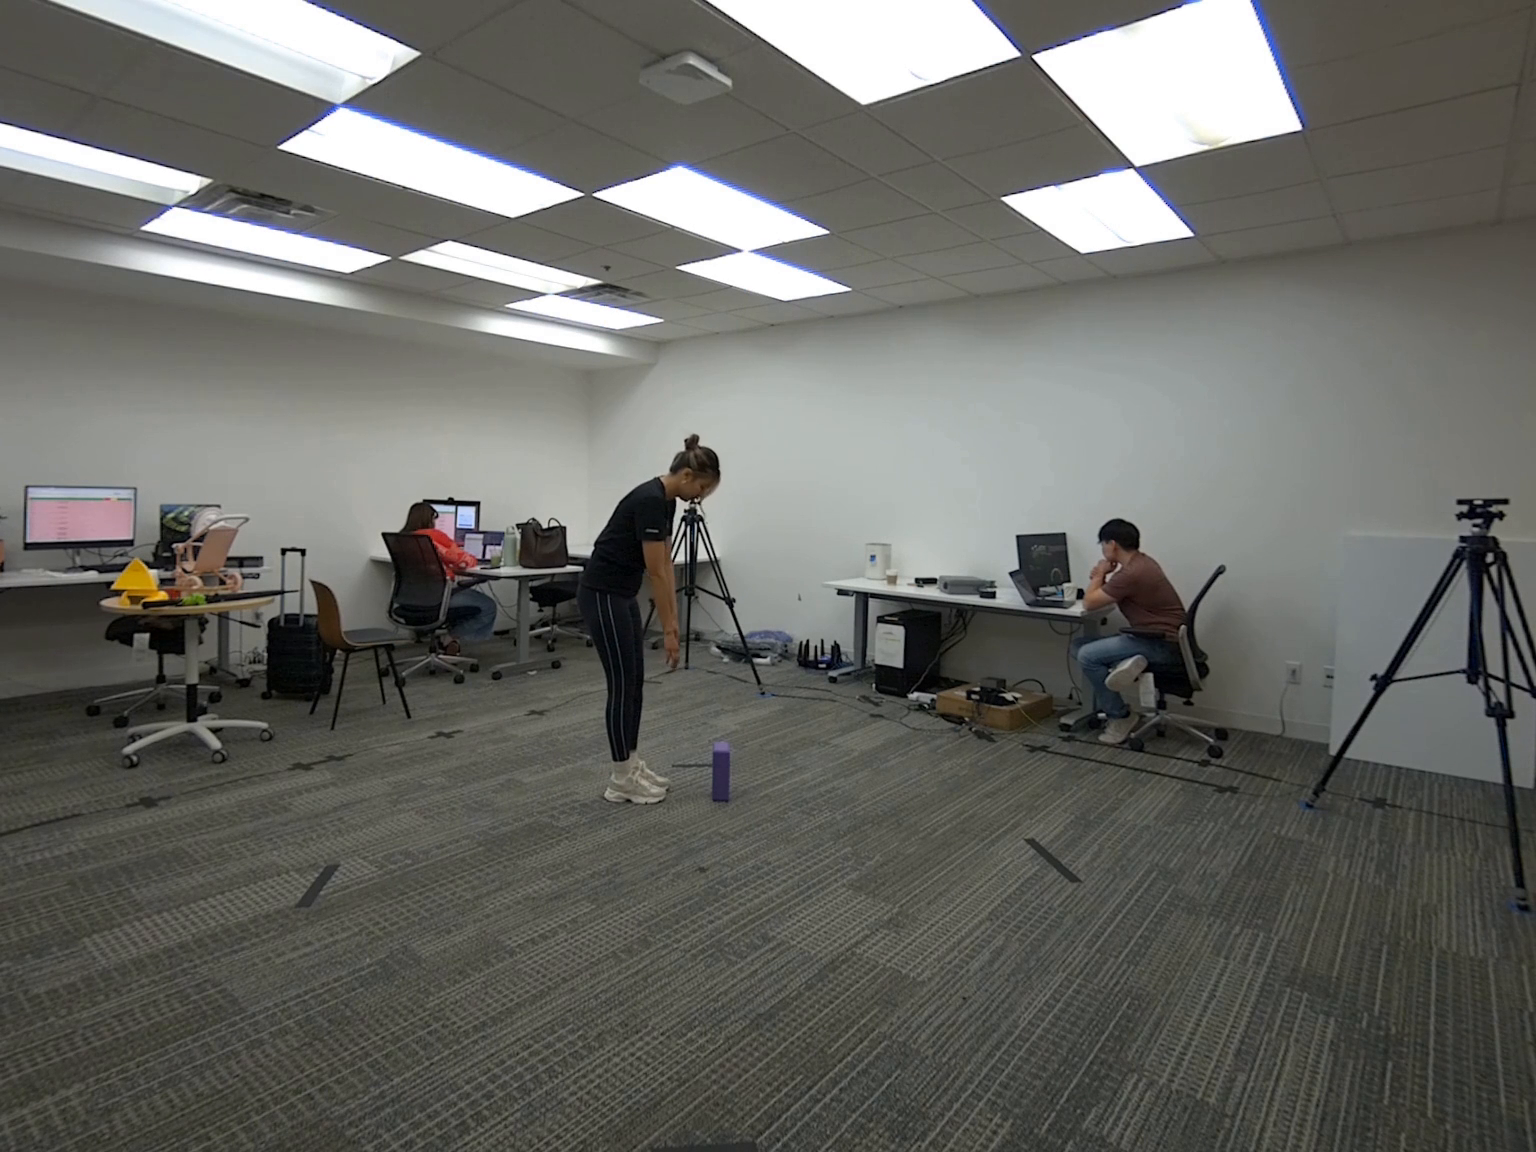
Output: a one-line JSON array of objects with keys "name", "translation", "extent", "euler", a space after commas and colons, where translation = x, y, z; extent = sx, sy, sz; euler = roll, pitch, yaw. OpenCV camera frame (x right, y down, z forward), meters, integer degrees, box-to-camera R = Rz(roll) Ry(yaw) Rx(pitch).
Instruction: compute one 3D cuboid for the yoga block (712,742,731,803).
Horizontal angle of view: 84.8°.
[{"name": "yoga block", "translation": [-0.220, 0.884, 3.858], "extent": [0.076, 0.228, 0.150], "euler": [2, 4, -4]}]
